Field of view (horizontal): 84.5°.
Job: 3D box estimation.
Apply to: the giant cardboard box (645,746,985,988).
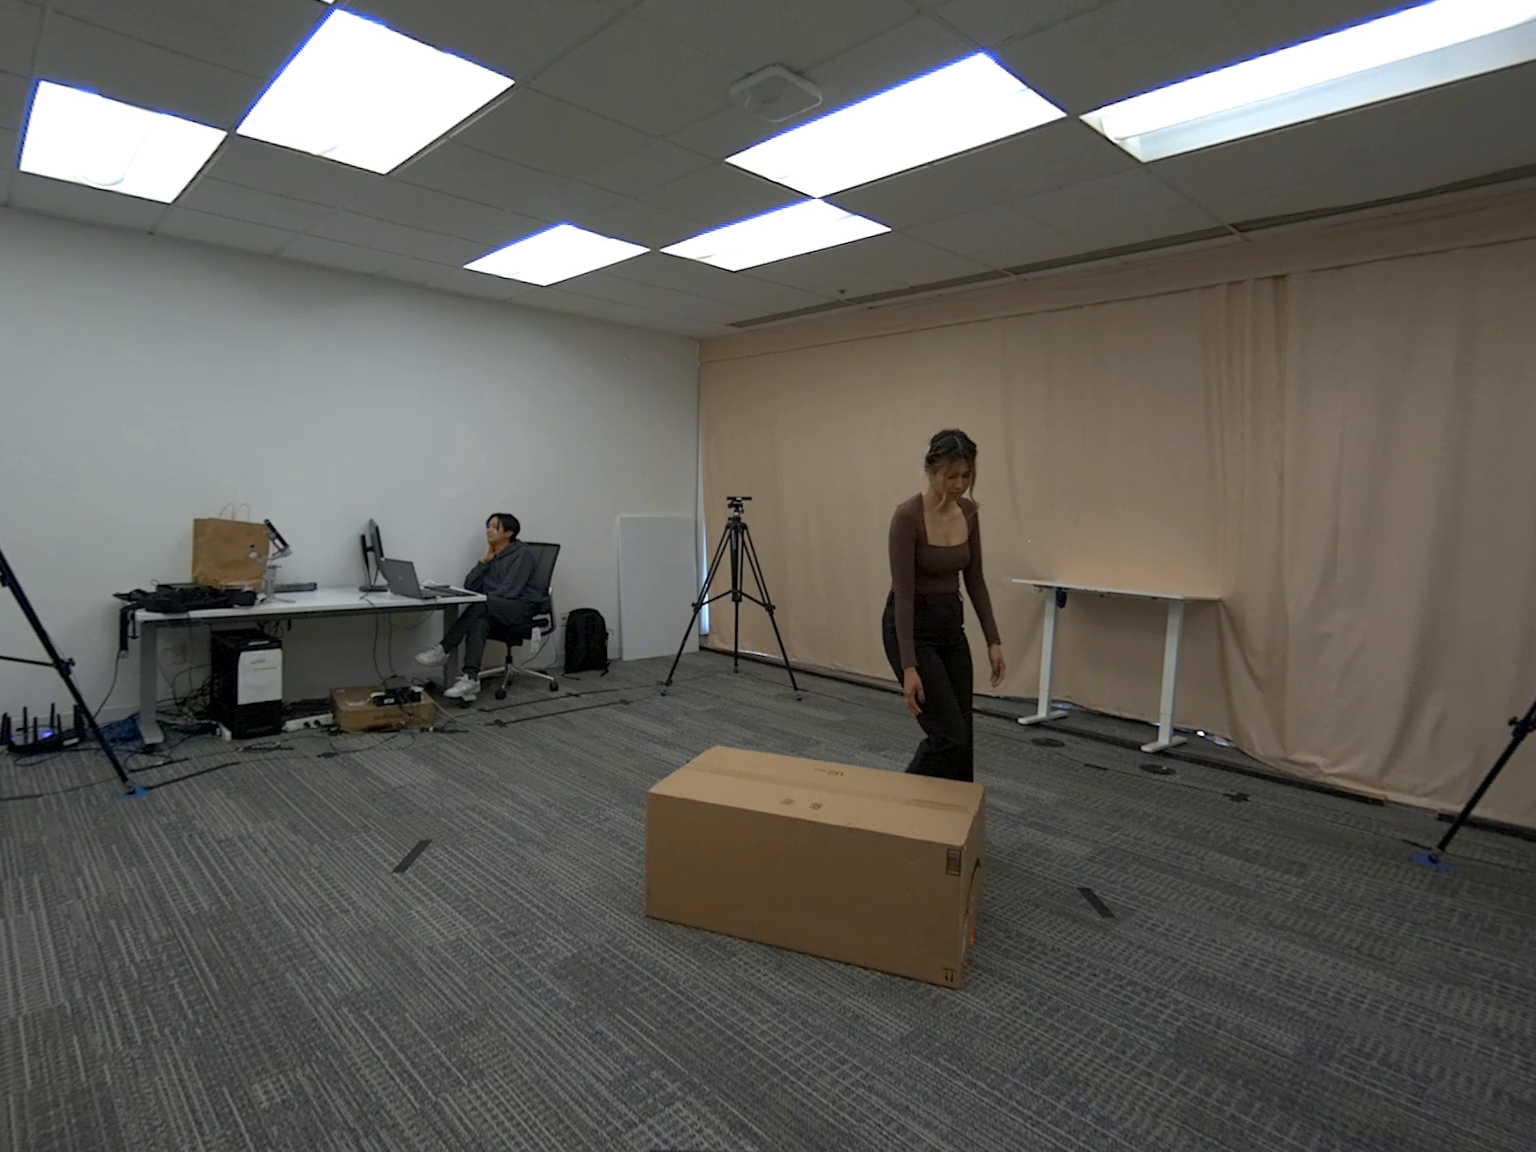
[{"bbox_3d":[0.168,0.925,2.845,1.045,0.446,0.575,4,4,21],"label":"giant cardboard box"}]
